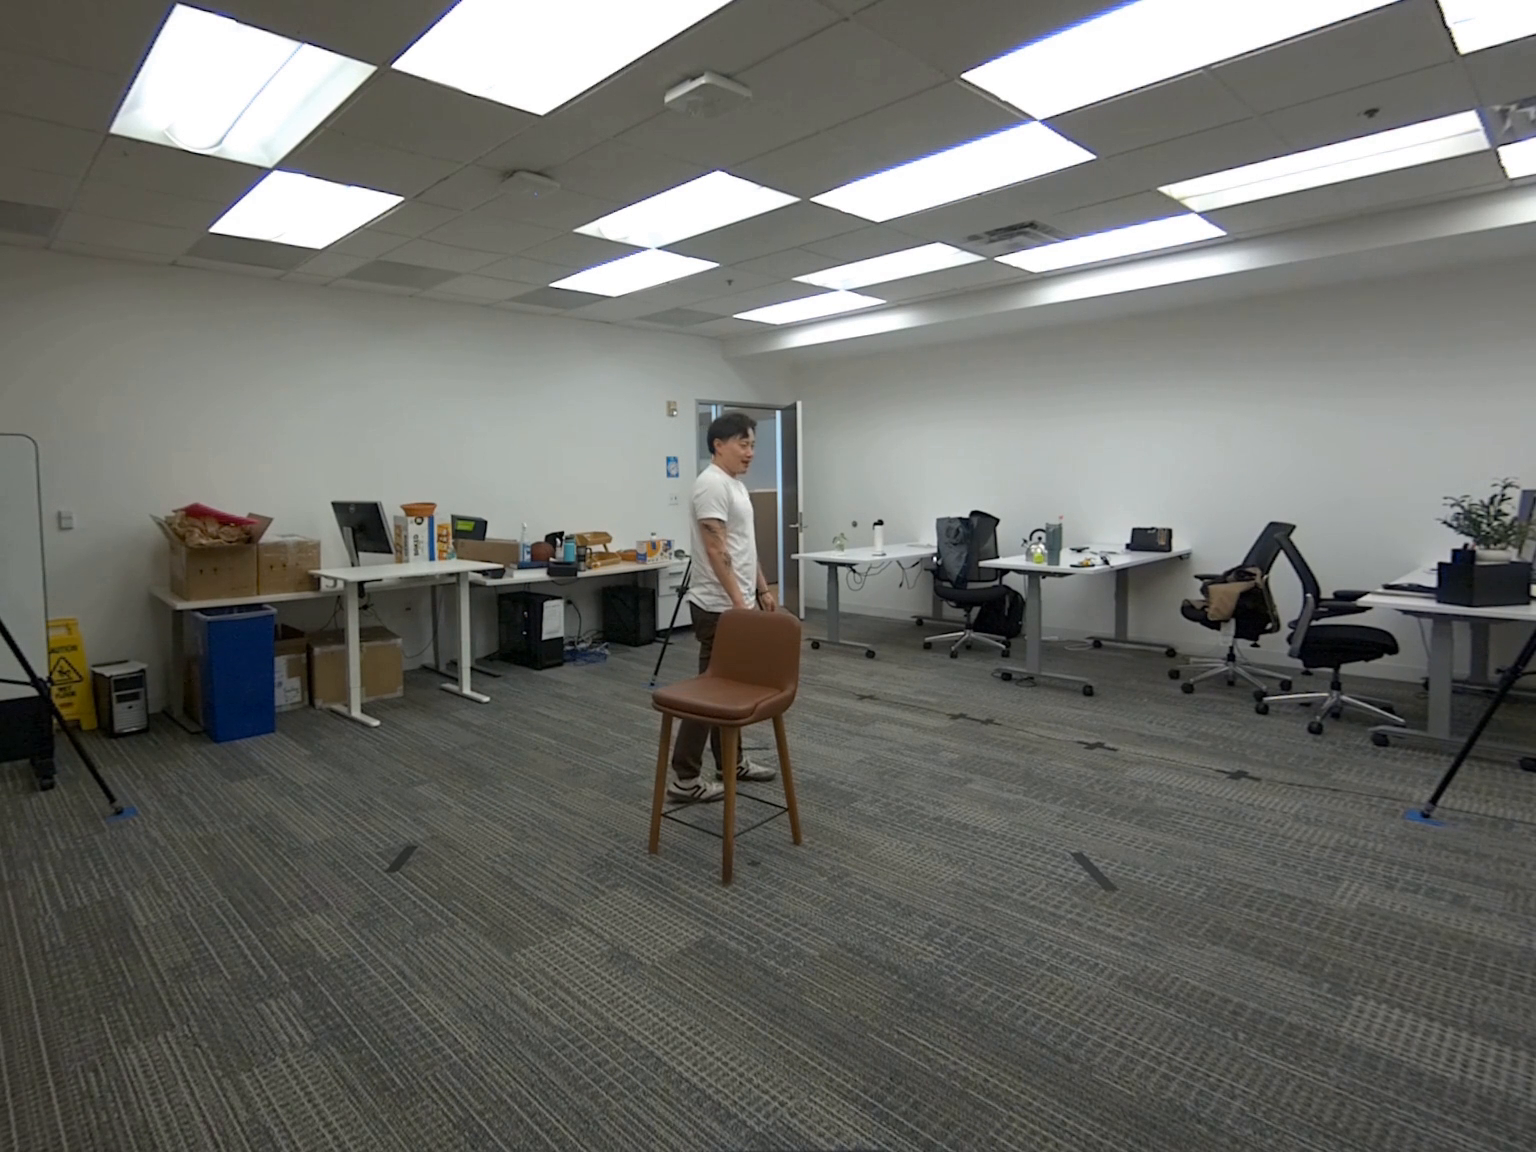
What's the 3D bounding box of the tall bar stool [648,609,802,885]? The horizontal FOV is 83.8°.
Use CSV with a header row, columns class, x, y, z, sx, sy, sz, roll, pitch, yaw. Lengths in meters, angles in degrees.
class,x,y,z,sx,sy,sz,roll,pitch,yaw
tall bar stool,-0.155,0.598,3.217,0.470,0.888,0.454,3,3,41
